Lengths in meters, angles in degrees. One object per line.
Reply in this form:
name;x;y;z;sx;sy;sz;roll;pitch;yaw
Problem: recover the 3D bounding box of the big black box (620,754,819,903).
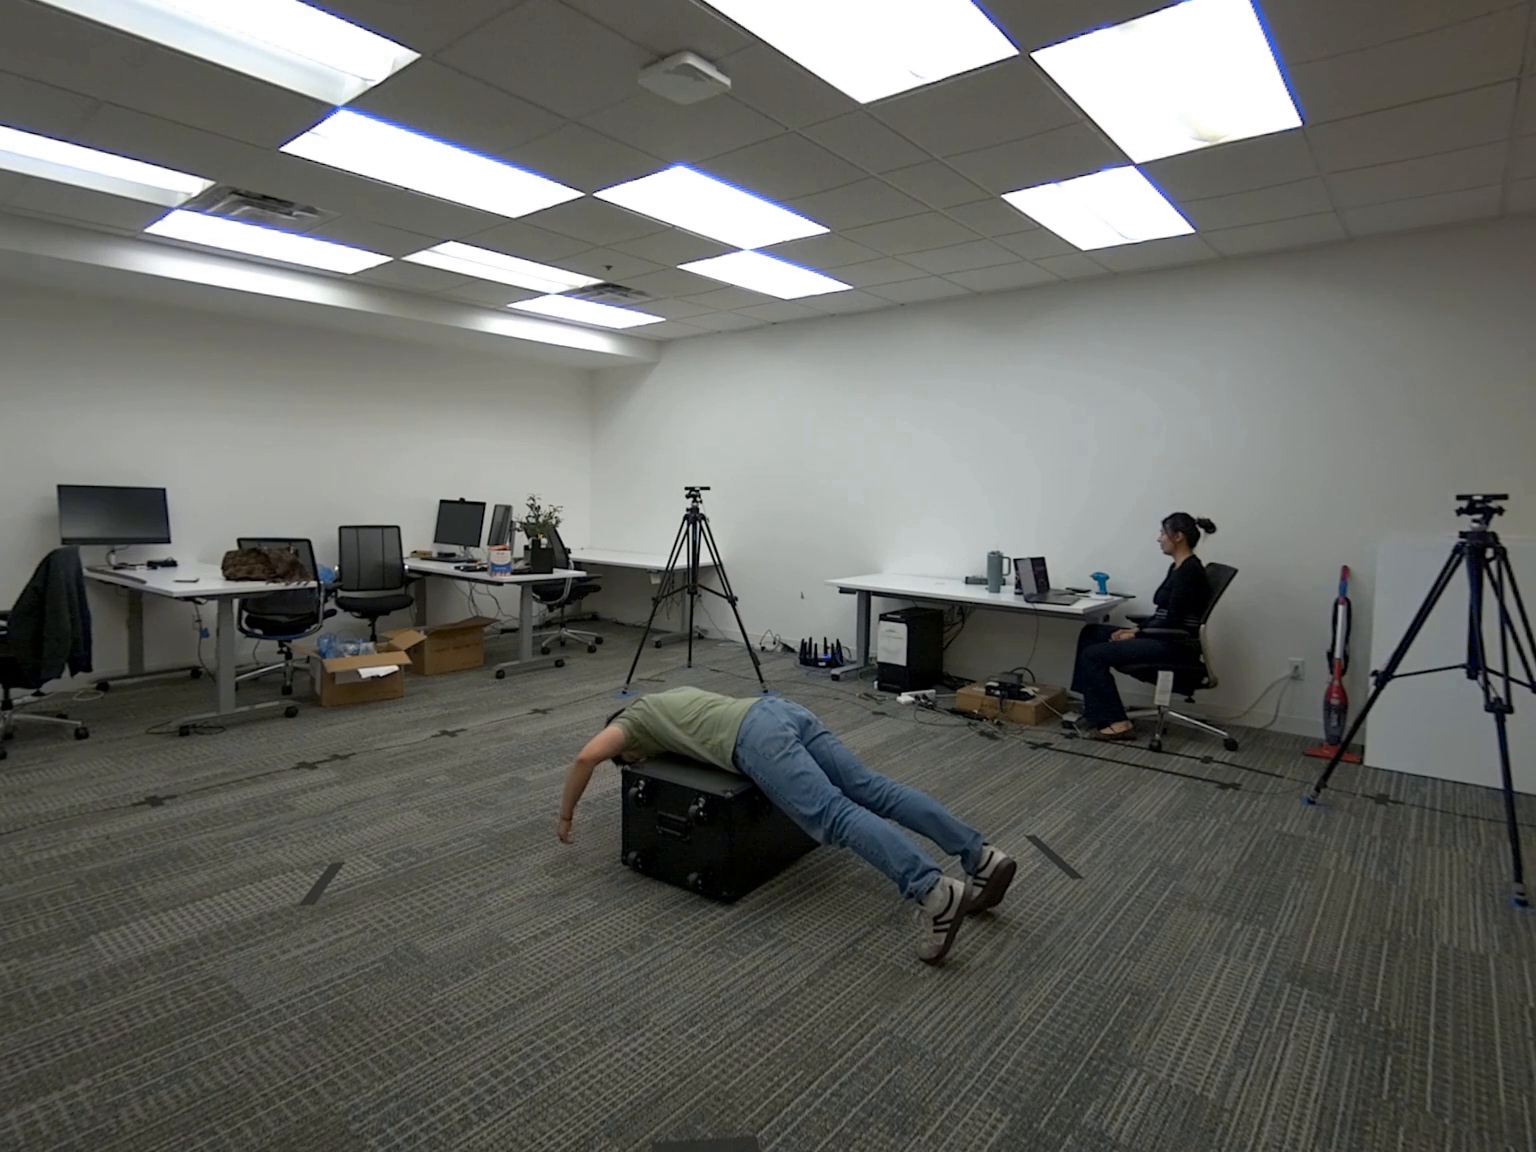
big black box;-0.153;0.870;3.225;0.537;0.395;0.837;4;4;33
